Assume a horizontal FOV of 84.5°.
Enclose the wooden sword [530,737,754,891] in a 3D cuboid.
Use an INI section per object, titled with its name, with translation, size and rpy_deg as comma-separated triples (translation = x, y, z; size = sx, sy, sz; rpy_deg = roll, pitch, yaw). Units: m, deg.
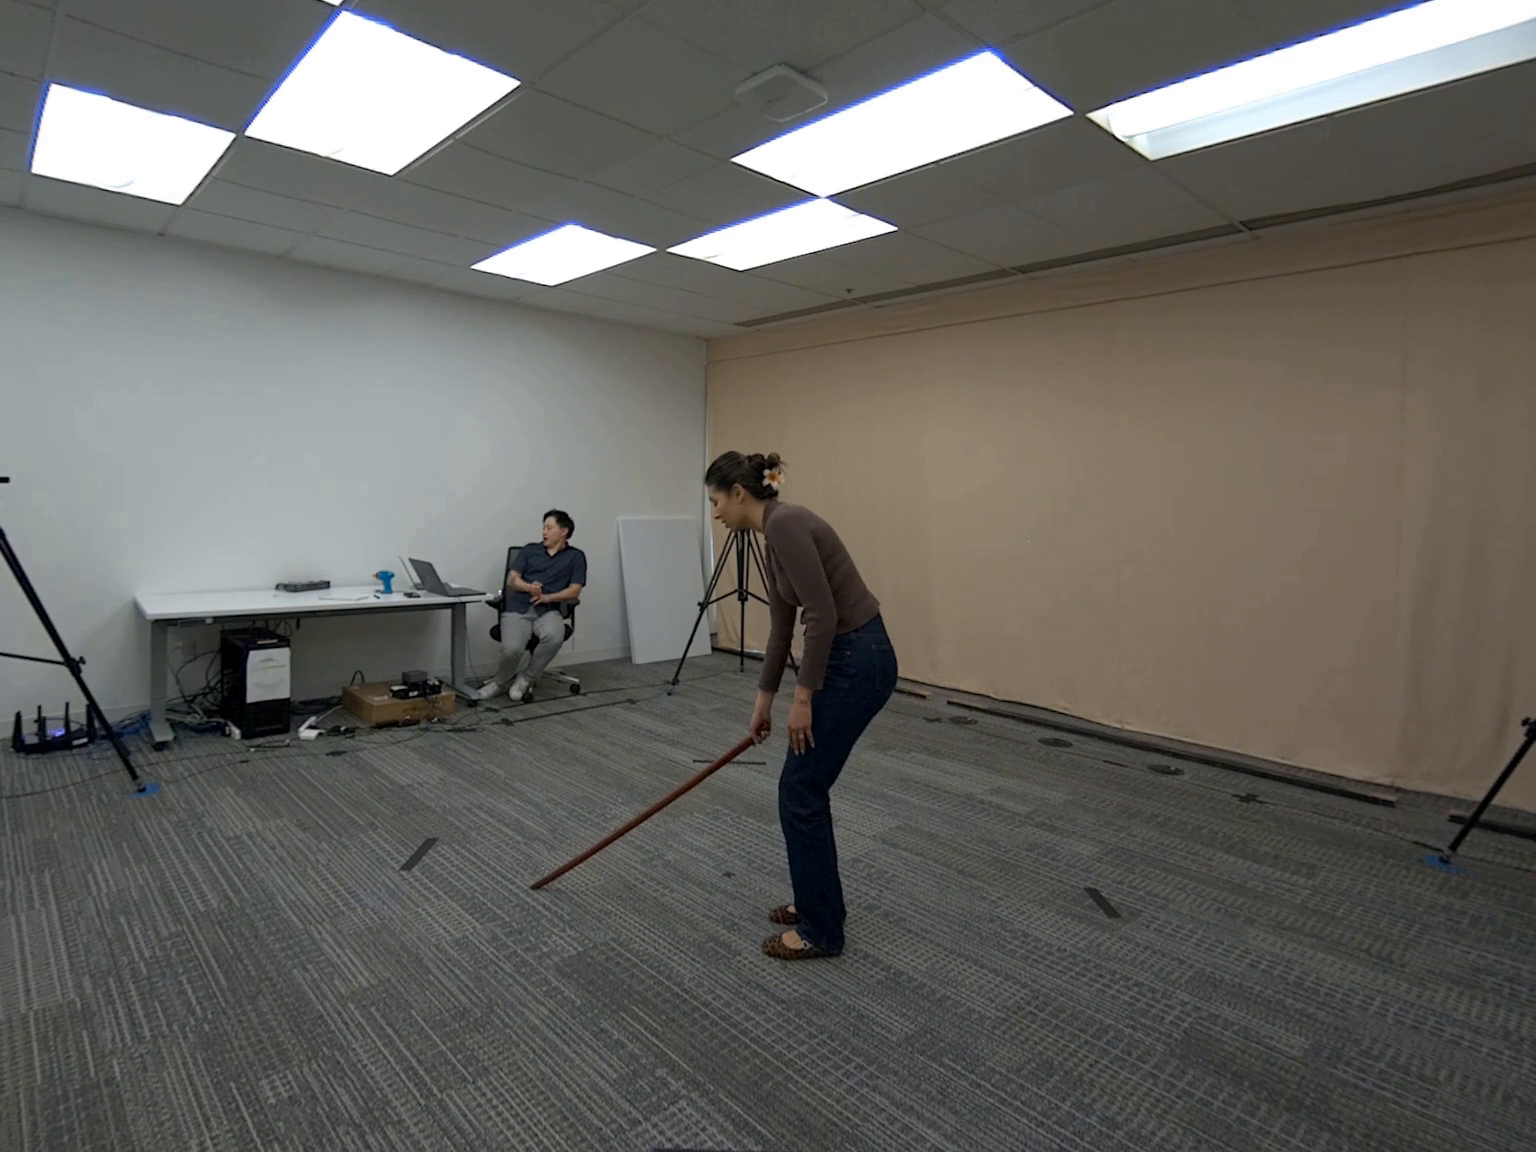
[wooden sword]
translation = -0.404, 0.810, 2.896
size = 1.026, 0.025, 0.050
rpy_deg = -35, -40, 5
